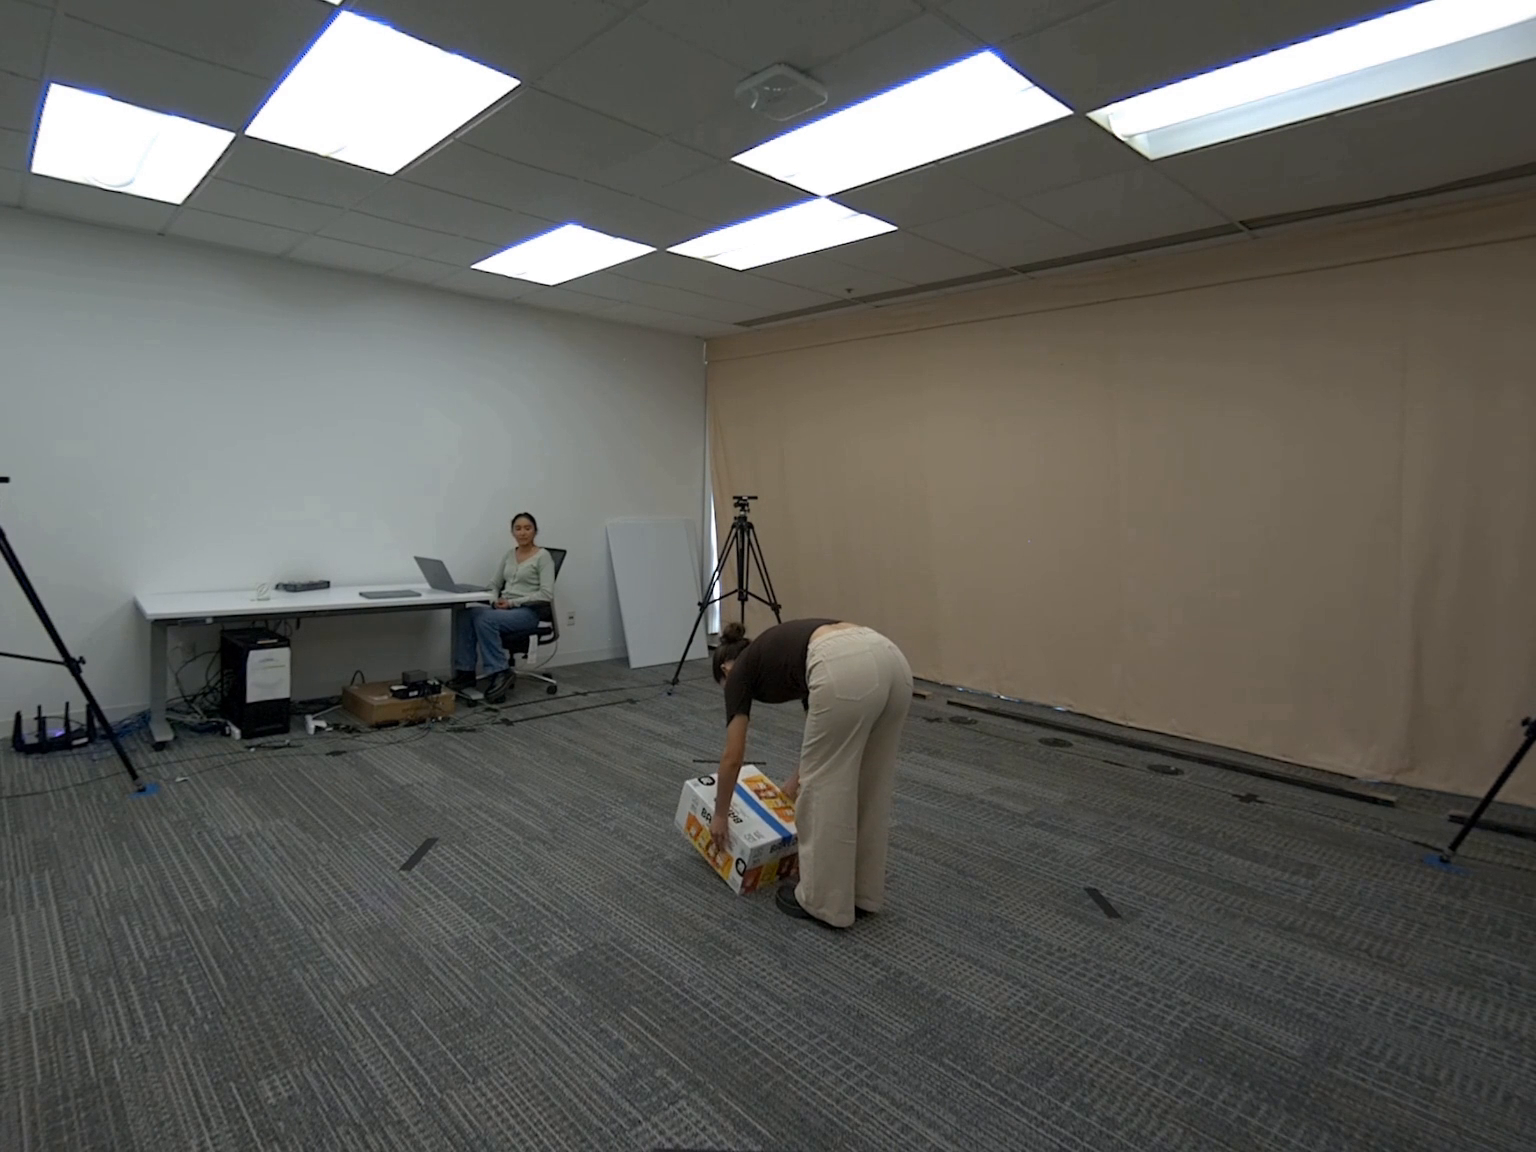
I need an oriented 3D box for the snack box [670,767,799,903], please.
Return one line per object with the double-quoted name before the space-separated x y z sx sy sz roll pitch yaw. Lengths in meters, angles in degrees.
"snack box" -0.095 0.947 3.159 0.332 0.204 0.418 -2 25 -41
